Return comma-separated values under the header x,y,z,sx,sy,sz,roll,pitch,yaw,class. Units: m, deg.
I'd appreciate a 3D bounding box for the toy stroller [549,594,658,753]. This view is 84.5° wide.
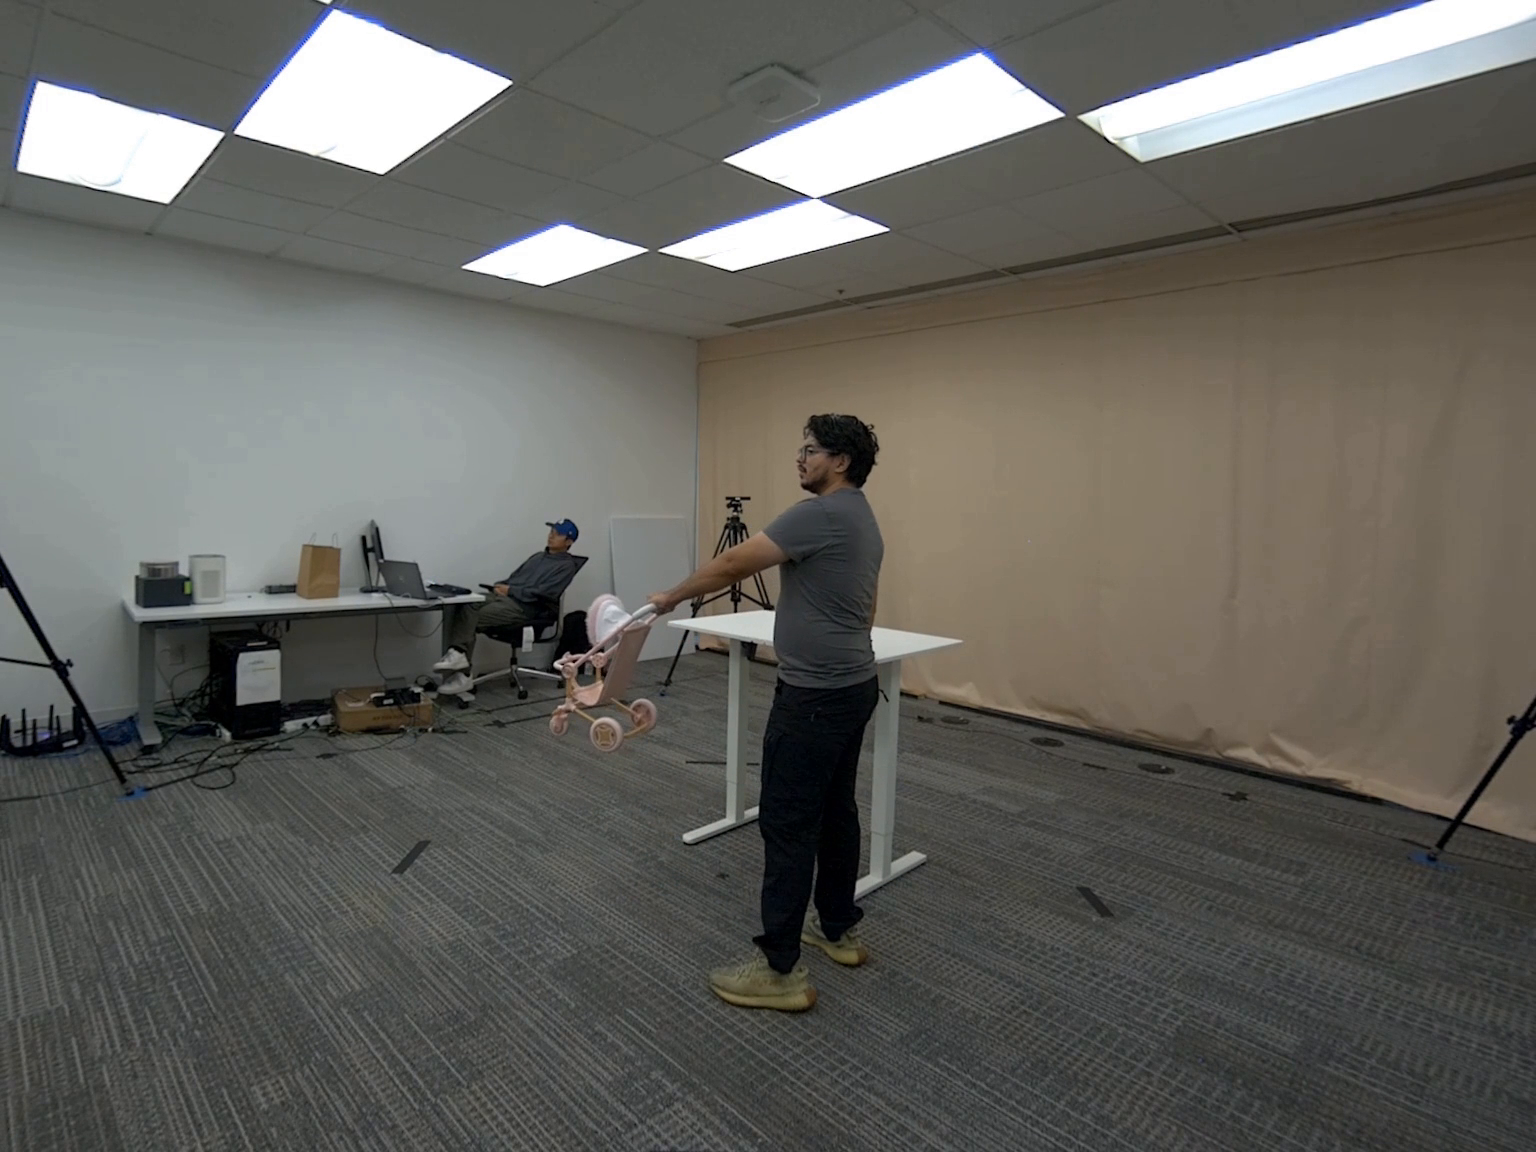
x,y,z,sx,sy,sz,roll,pitch,yaw,class
-0.533,0.304,2.718,0.349,0.532,0.277,14,8,24,toy stroller
